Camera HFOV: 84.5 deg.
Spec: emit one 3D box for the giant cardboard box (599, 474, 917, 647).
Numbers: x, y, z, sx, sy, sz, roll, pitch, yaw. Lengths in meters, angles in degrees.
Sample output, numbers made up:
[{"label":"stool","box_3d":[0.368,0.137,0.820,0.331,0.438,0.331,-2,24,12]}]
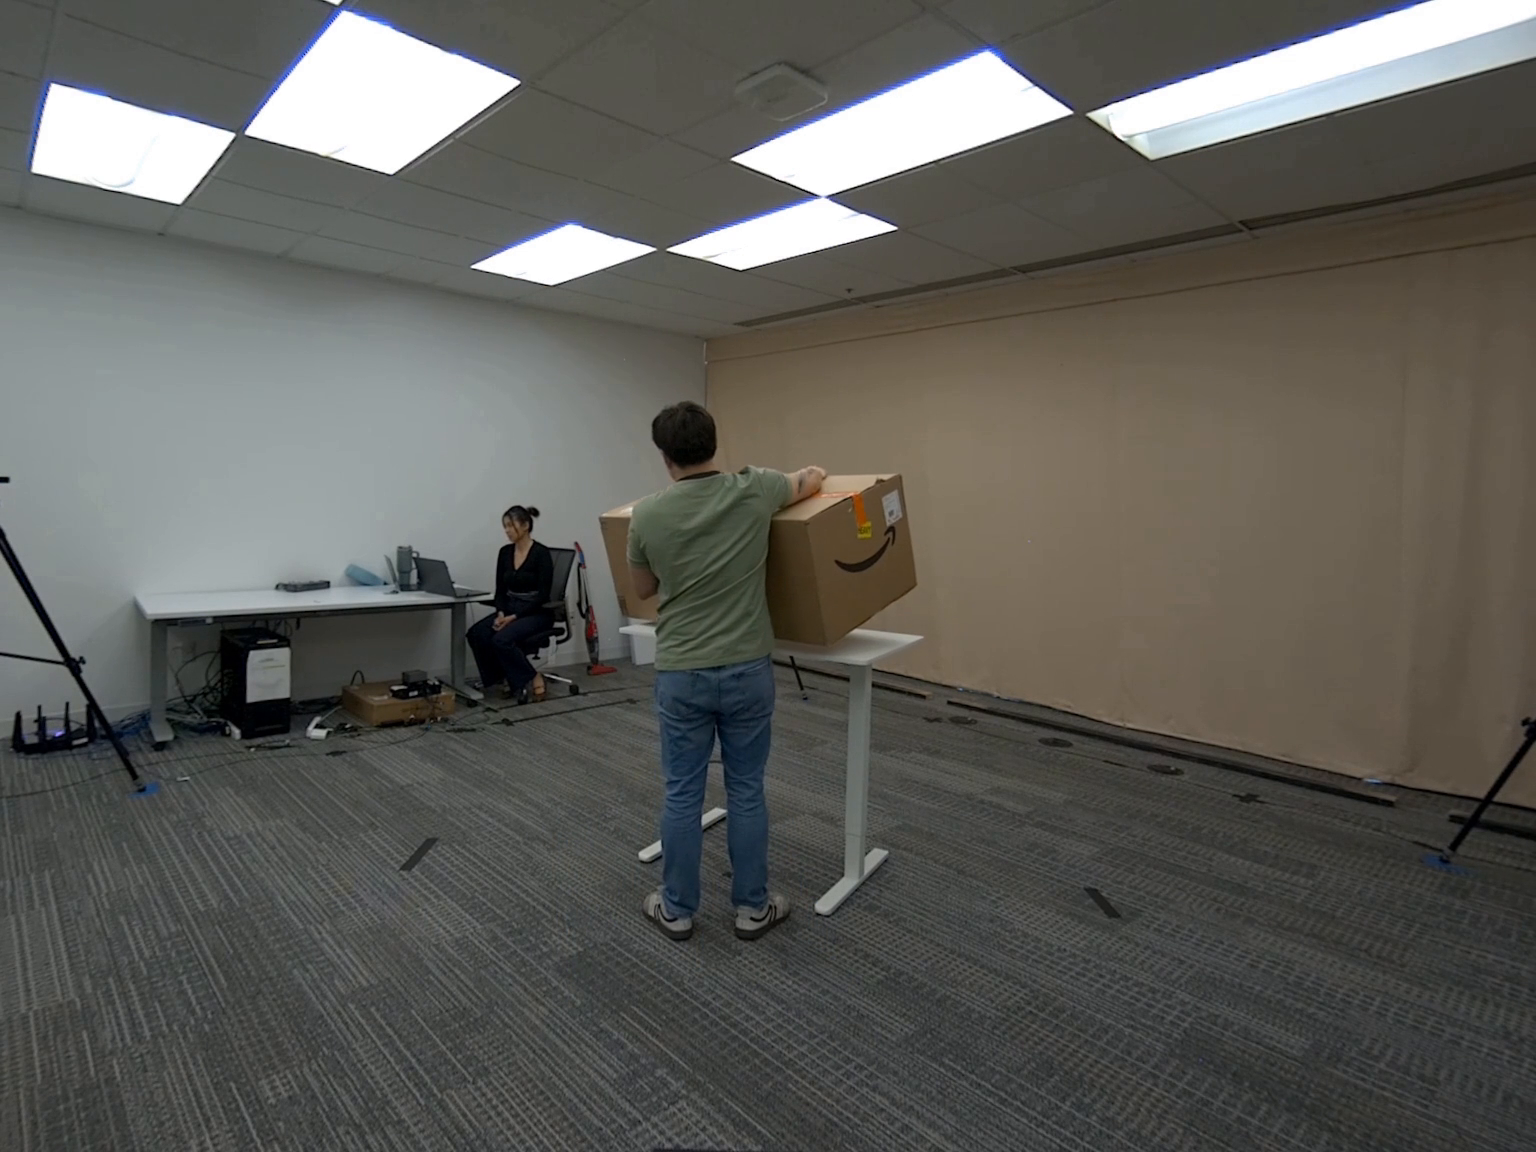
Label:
[{"label":"giant cardboard box","box_3d":[-0.061,-0.097,3.157,1.052,0.420,0.571,5,23,42]}]
